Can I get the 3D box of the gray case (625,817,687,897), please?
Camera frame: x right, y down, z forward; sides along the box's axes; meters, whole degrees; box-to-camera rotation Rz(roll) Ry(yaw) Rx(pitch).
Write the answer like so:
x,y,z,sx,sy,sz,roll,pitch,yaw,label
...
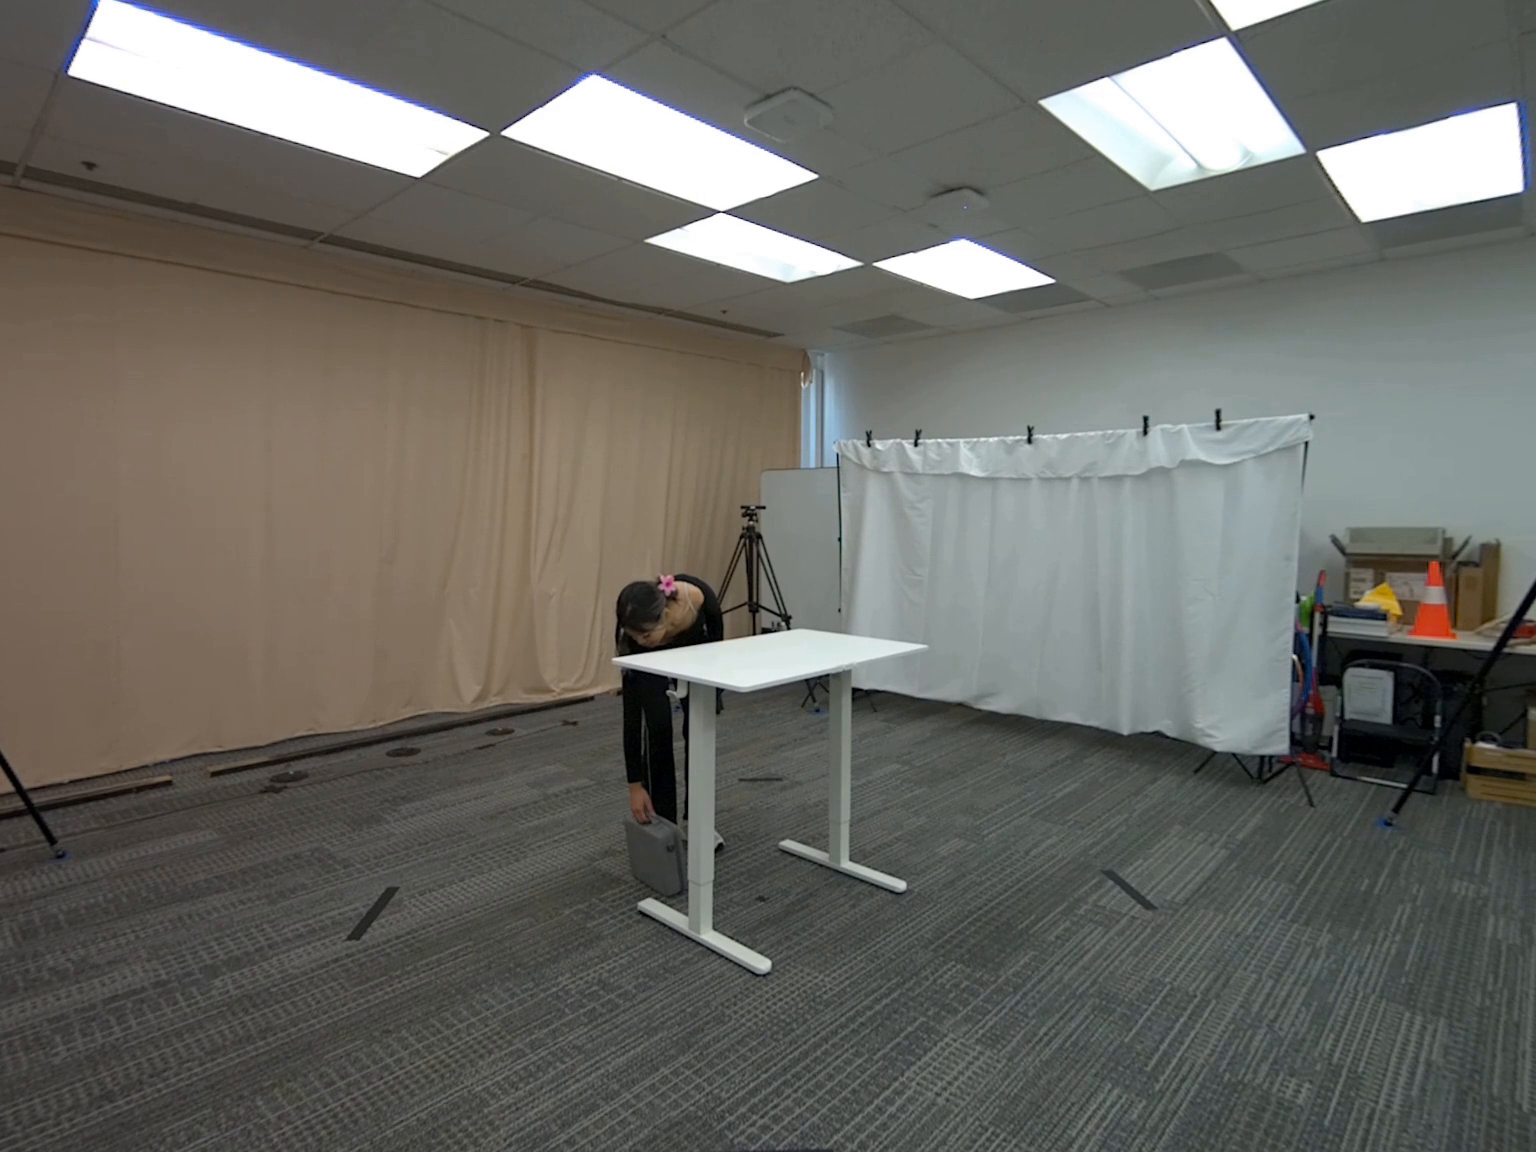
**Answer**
x,y,z,sx,sy,sz,roll,pitch,yaw,label
-0.410,0.997,3.087,0.101,0.259,0.265,-12,11,-36,gray case
